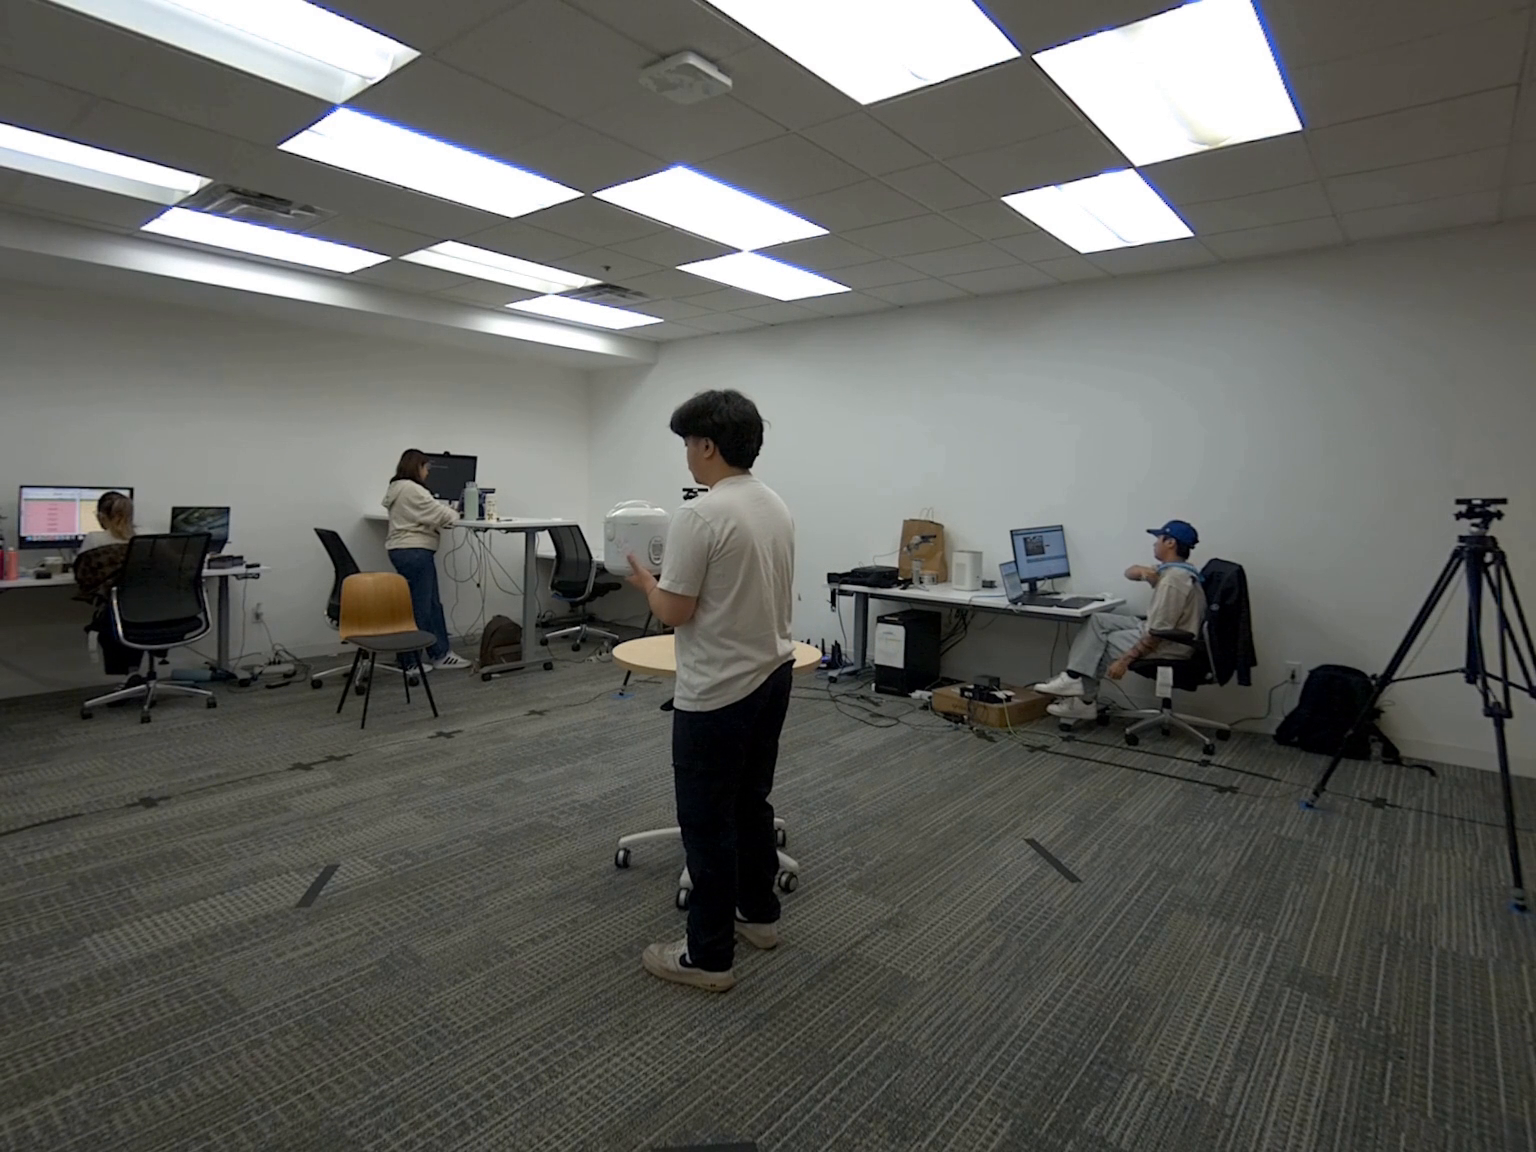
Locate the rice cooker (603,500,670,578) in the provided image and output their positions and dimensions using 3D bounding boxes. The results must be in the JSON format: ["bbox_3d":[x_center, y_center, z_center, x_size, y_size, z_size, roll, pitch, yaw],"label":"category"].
[{"bbox_3d":[-0.415,-0.122,2.673,0.214,0.232,0.224,-4,4,-42],"label":"rice cooker"}]
